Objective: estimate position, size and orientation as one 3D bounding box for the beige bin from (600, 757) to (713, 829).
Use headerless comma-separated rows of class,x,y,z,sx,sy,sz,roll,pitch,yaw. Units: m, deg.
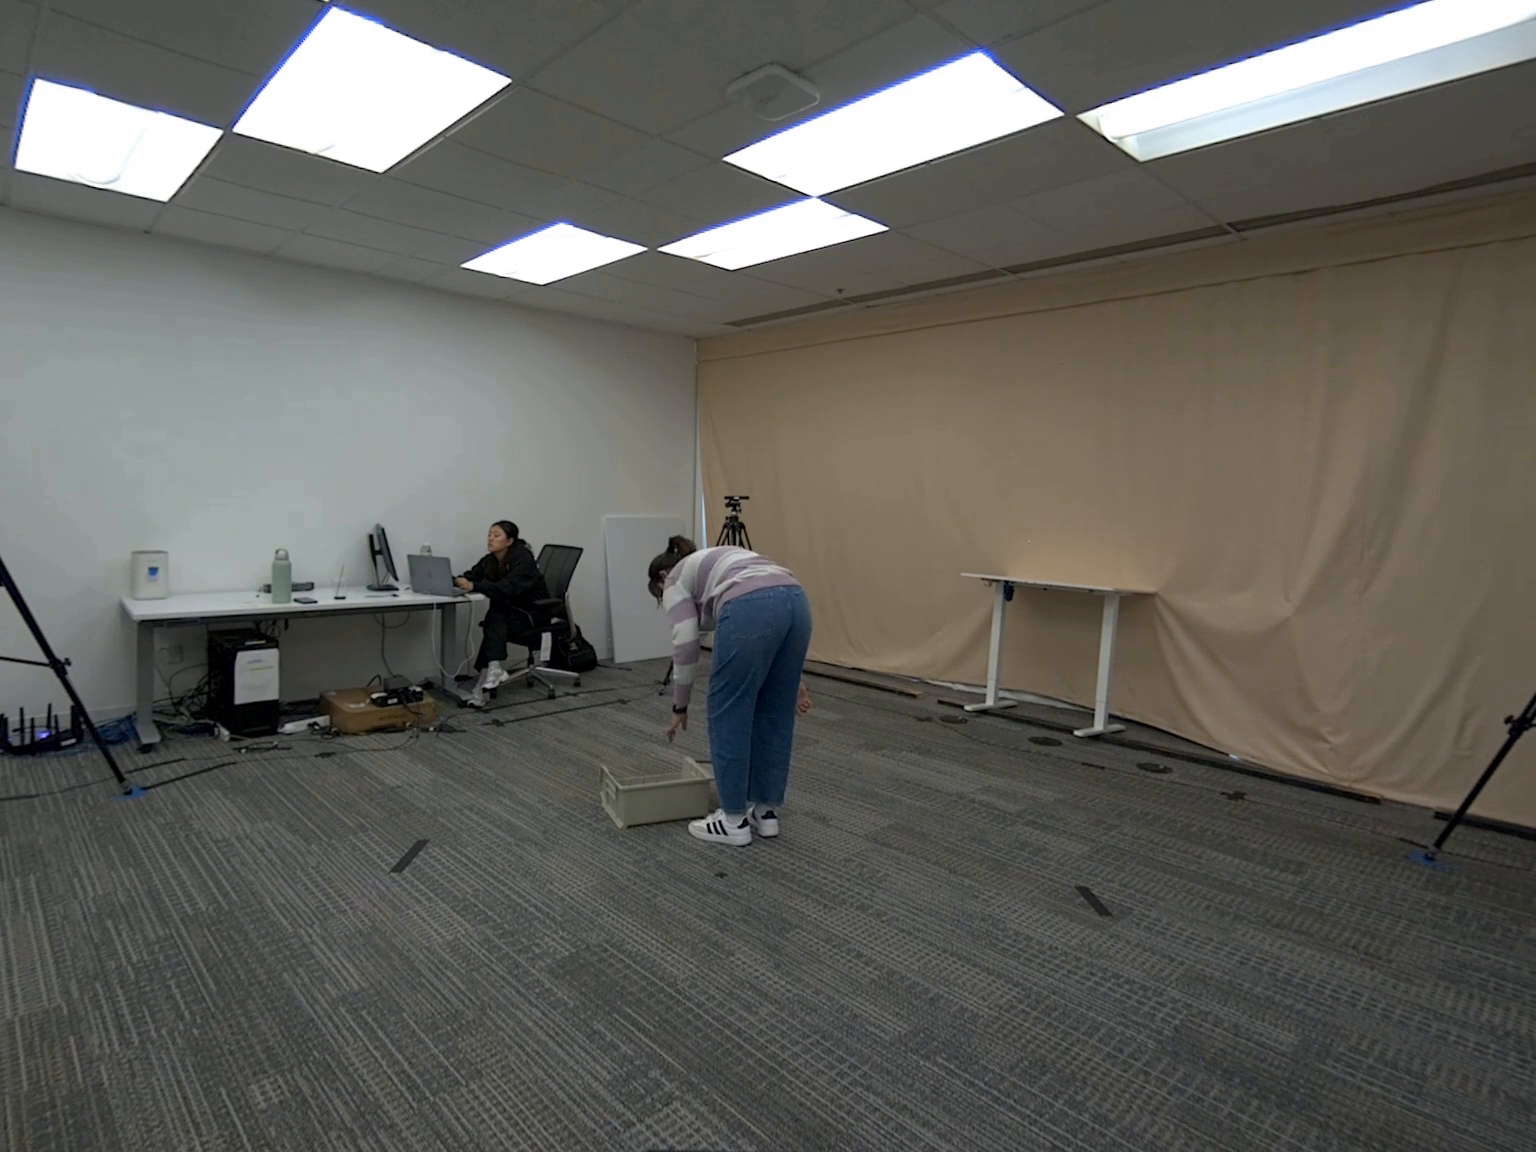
beige bin,-0.513,0.950,3.749,0.415,0.188,0.385,0,6,-25
